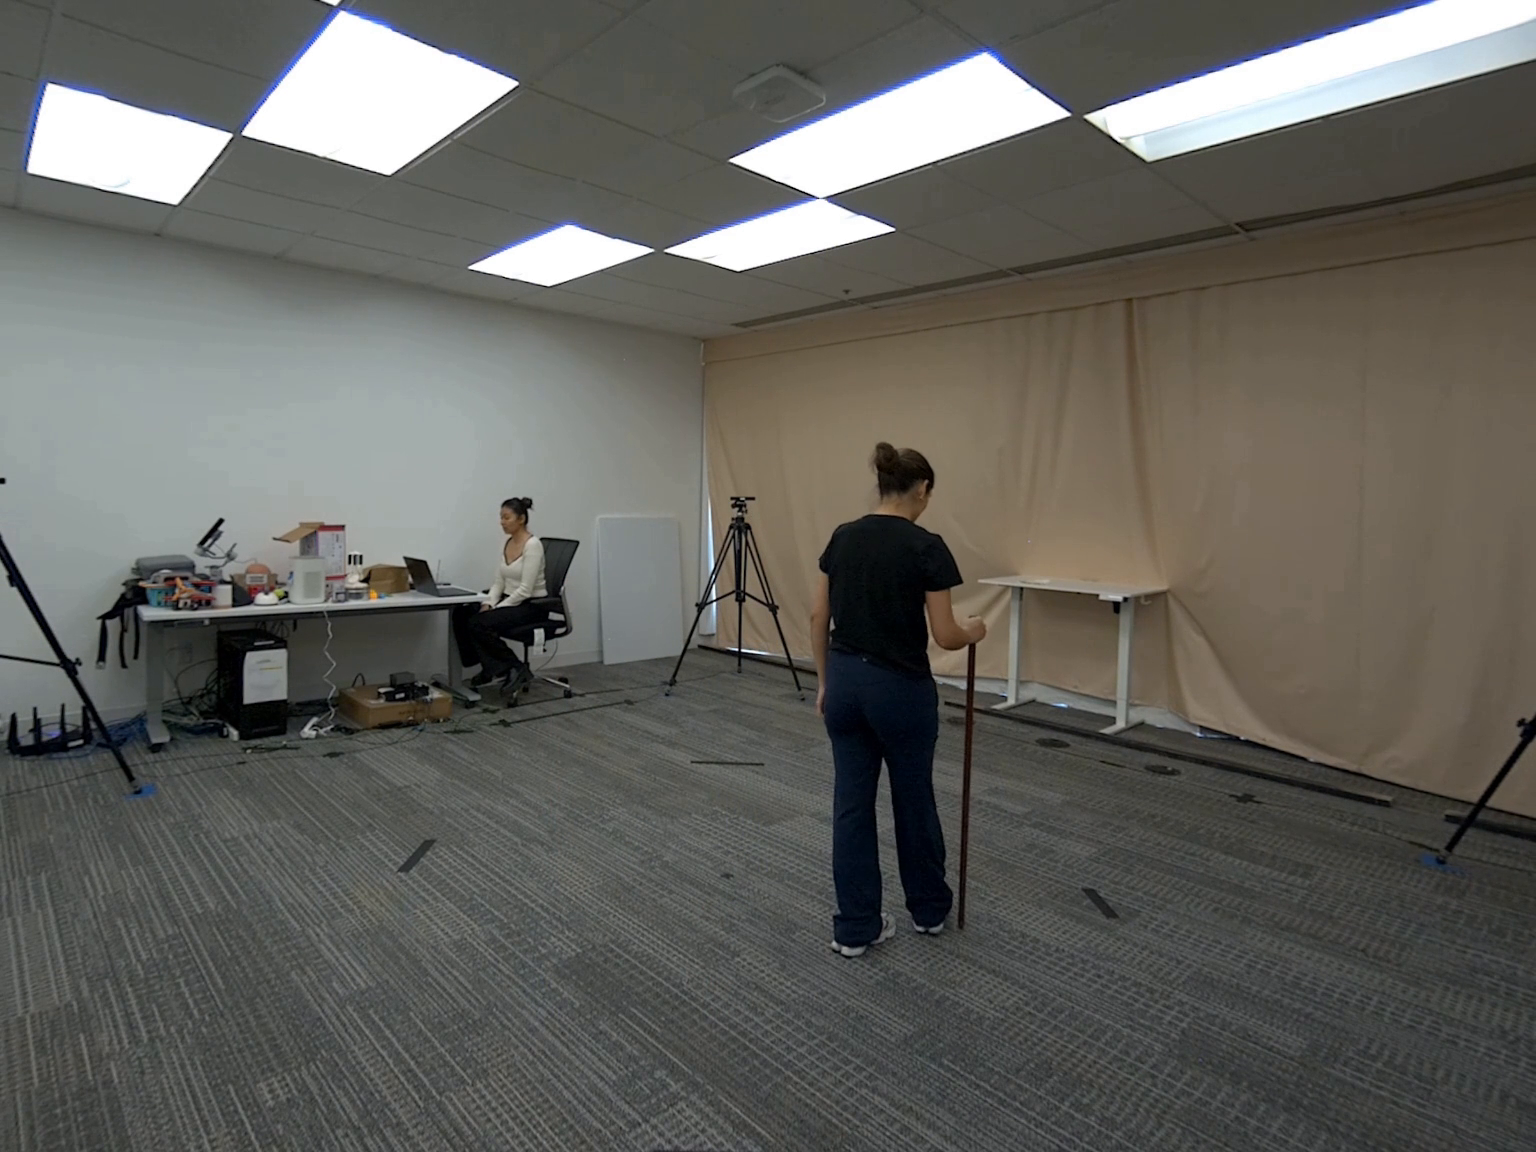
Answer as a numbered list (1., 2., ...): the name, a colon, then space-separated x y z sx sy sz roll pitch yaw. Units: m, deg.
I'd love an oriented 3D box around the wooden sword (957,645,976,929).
1. wooden sword: 0.646 0.667 2.714 0.024 1.022 0.052 3 4 -17
